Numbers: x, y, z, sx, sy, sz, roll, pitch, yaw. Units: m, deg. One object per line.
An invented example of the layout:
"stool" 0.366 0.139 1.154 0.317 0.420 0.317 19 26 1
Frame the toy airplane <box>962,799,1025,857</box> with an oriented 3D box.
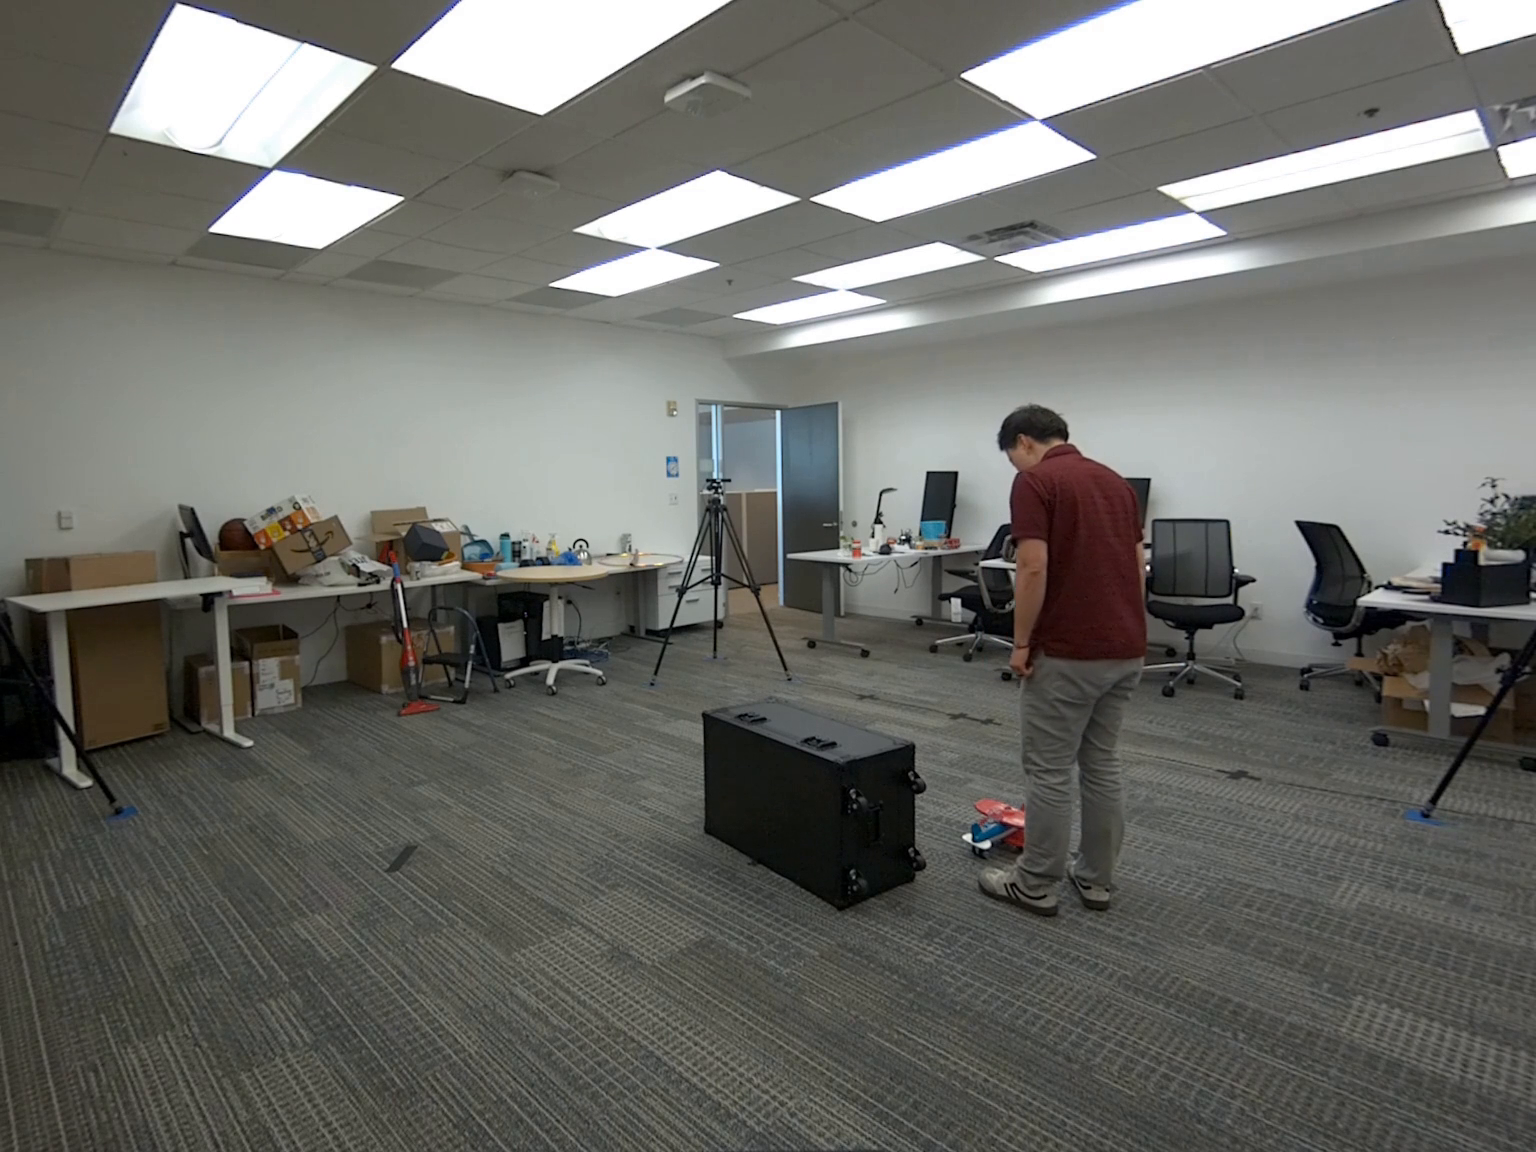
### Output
"toy airplane" 0.861 0.944 3.155 0.258 0.156 0.253 3 5 32
